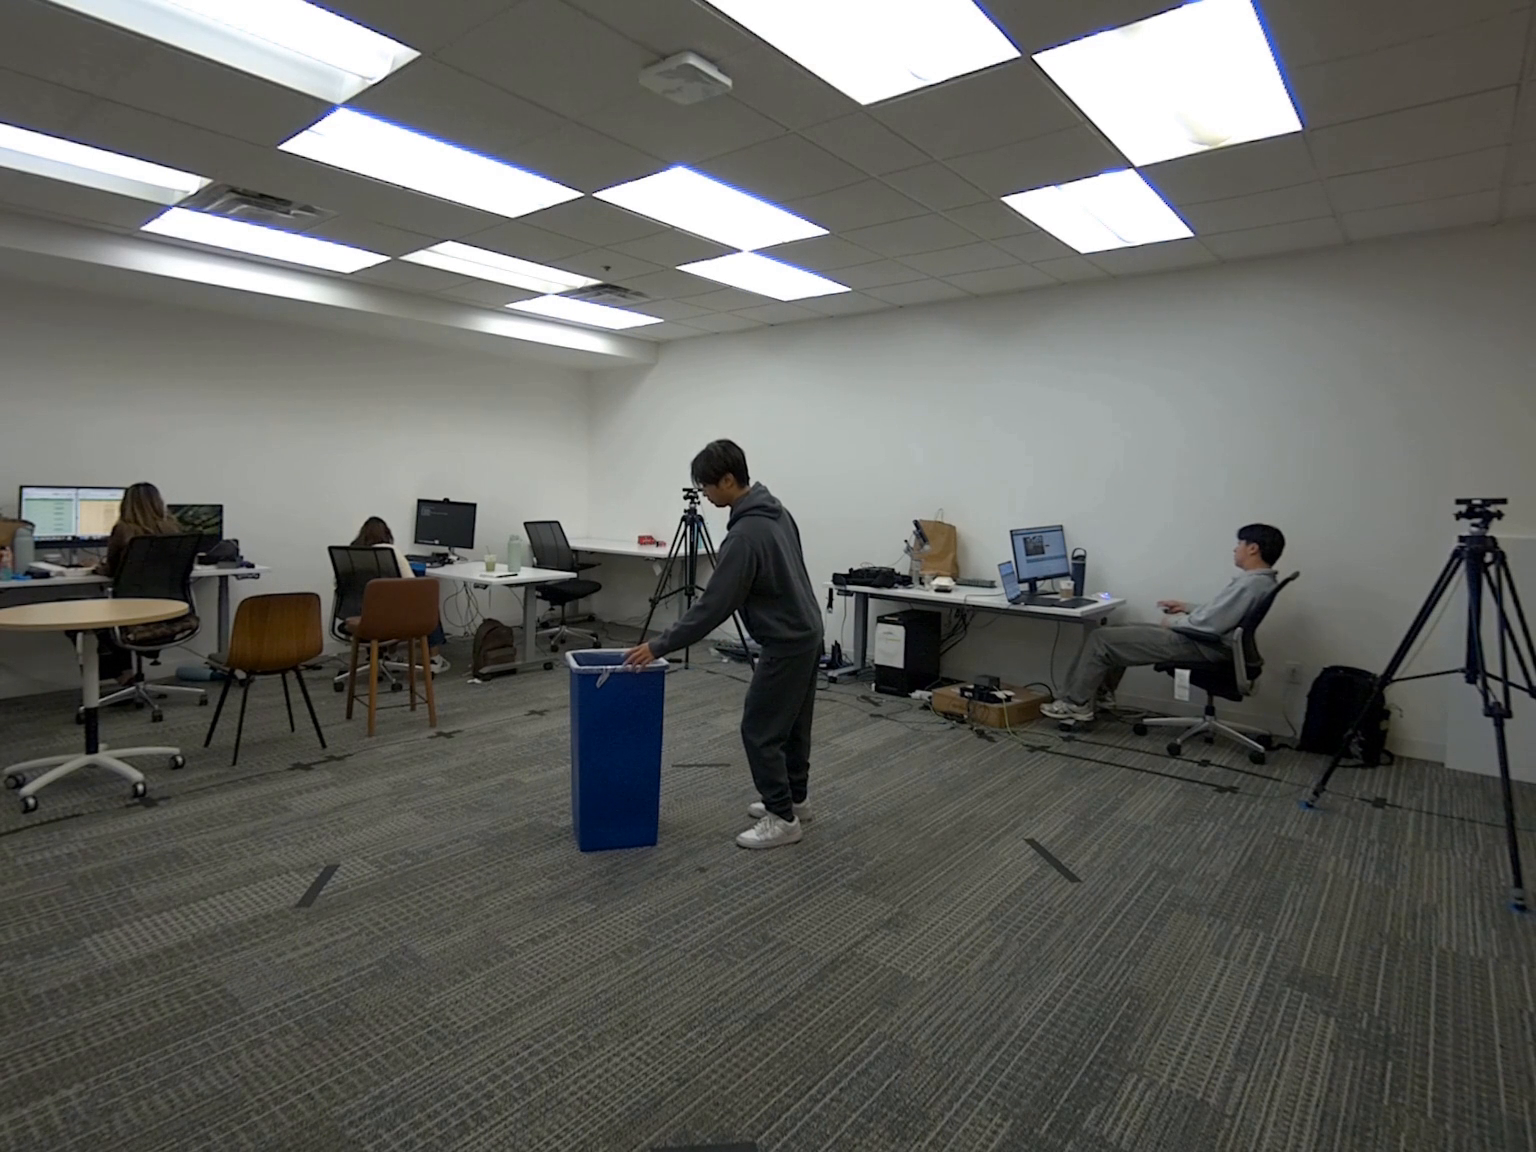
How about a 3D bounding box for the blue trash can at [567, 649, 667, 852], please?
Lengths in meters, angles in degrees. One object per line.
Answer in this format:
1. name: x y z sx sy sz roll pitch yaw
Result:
1. blue trash can: -0.630 0.679 3.409 0.372 0.712 0.382 0 3 -17
